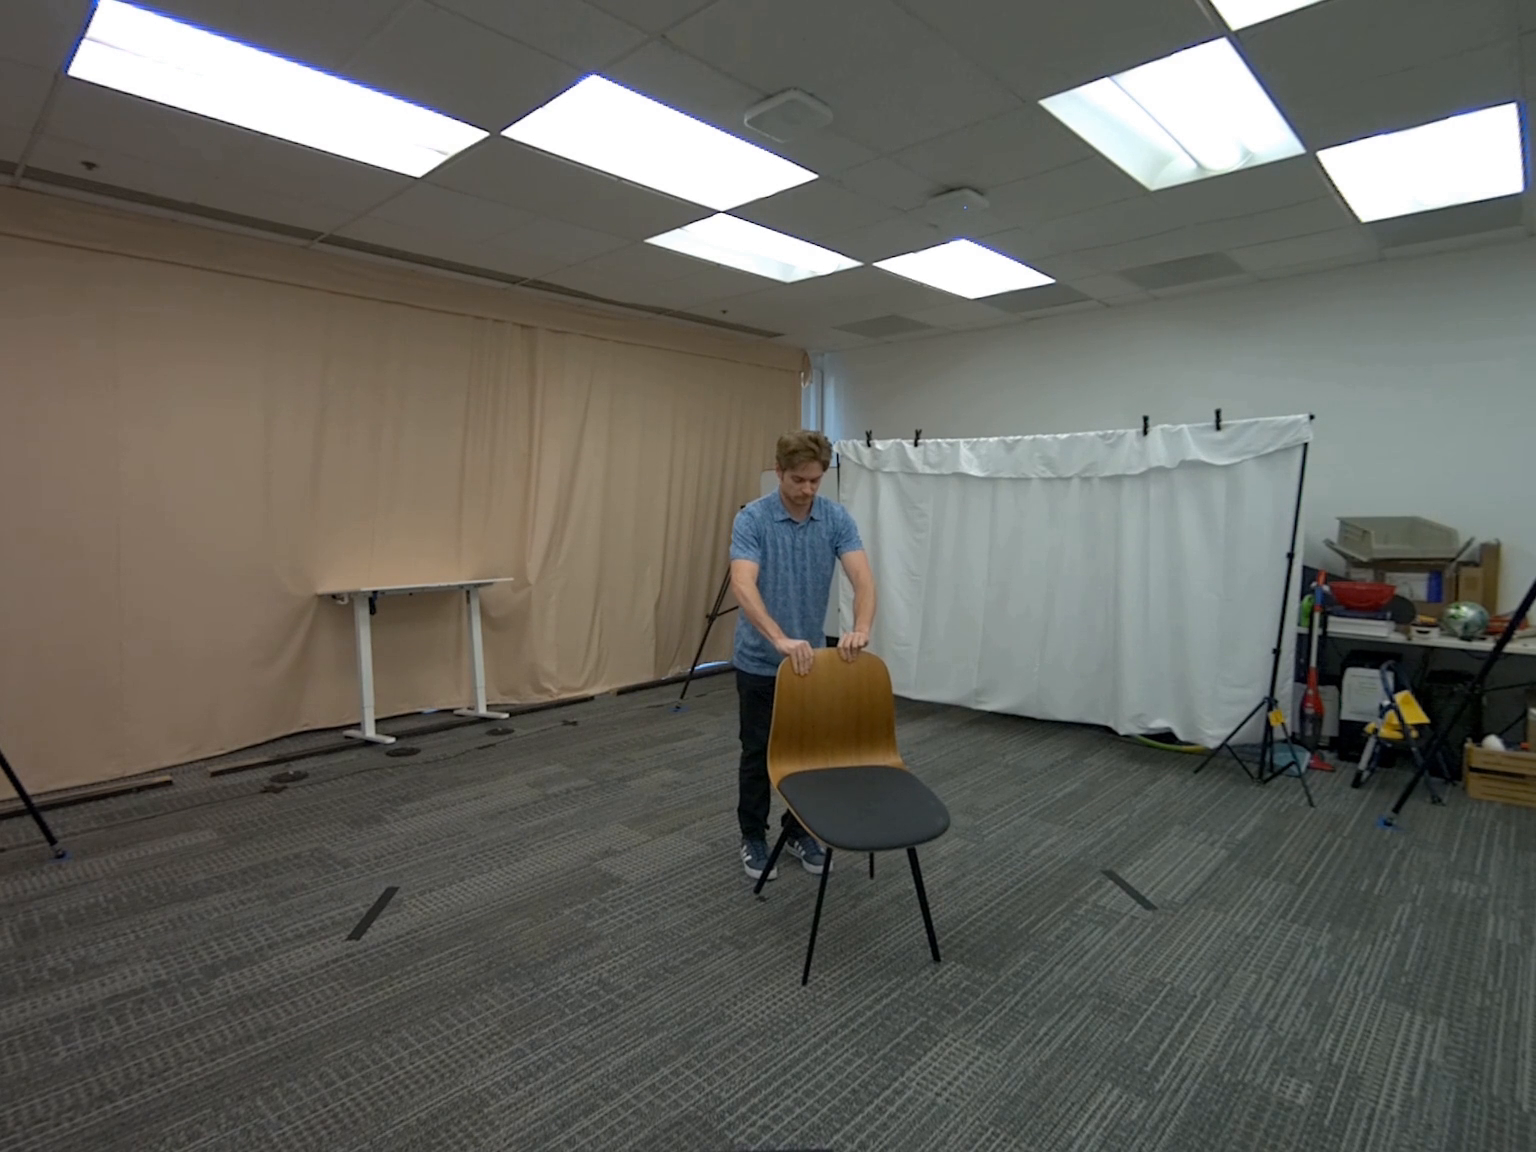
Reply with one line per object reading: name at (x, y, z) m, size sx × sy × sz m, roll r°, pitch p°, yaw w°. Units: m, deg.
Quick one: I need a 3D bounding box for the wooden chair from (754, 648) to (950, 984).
wooden chair at (0.278, 0.715, 2.613) m, size 0.469 × 0.873 × 0.535 m, roll -1°, pitch 9°, yaw -18°
